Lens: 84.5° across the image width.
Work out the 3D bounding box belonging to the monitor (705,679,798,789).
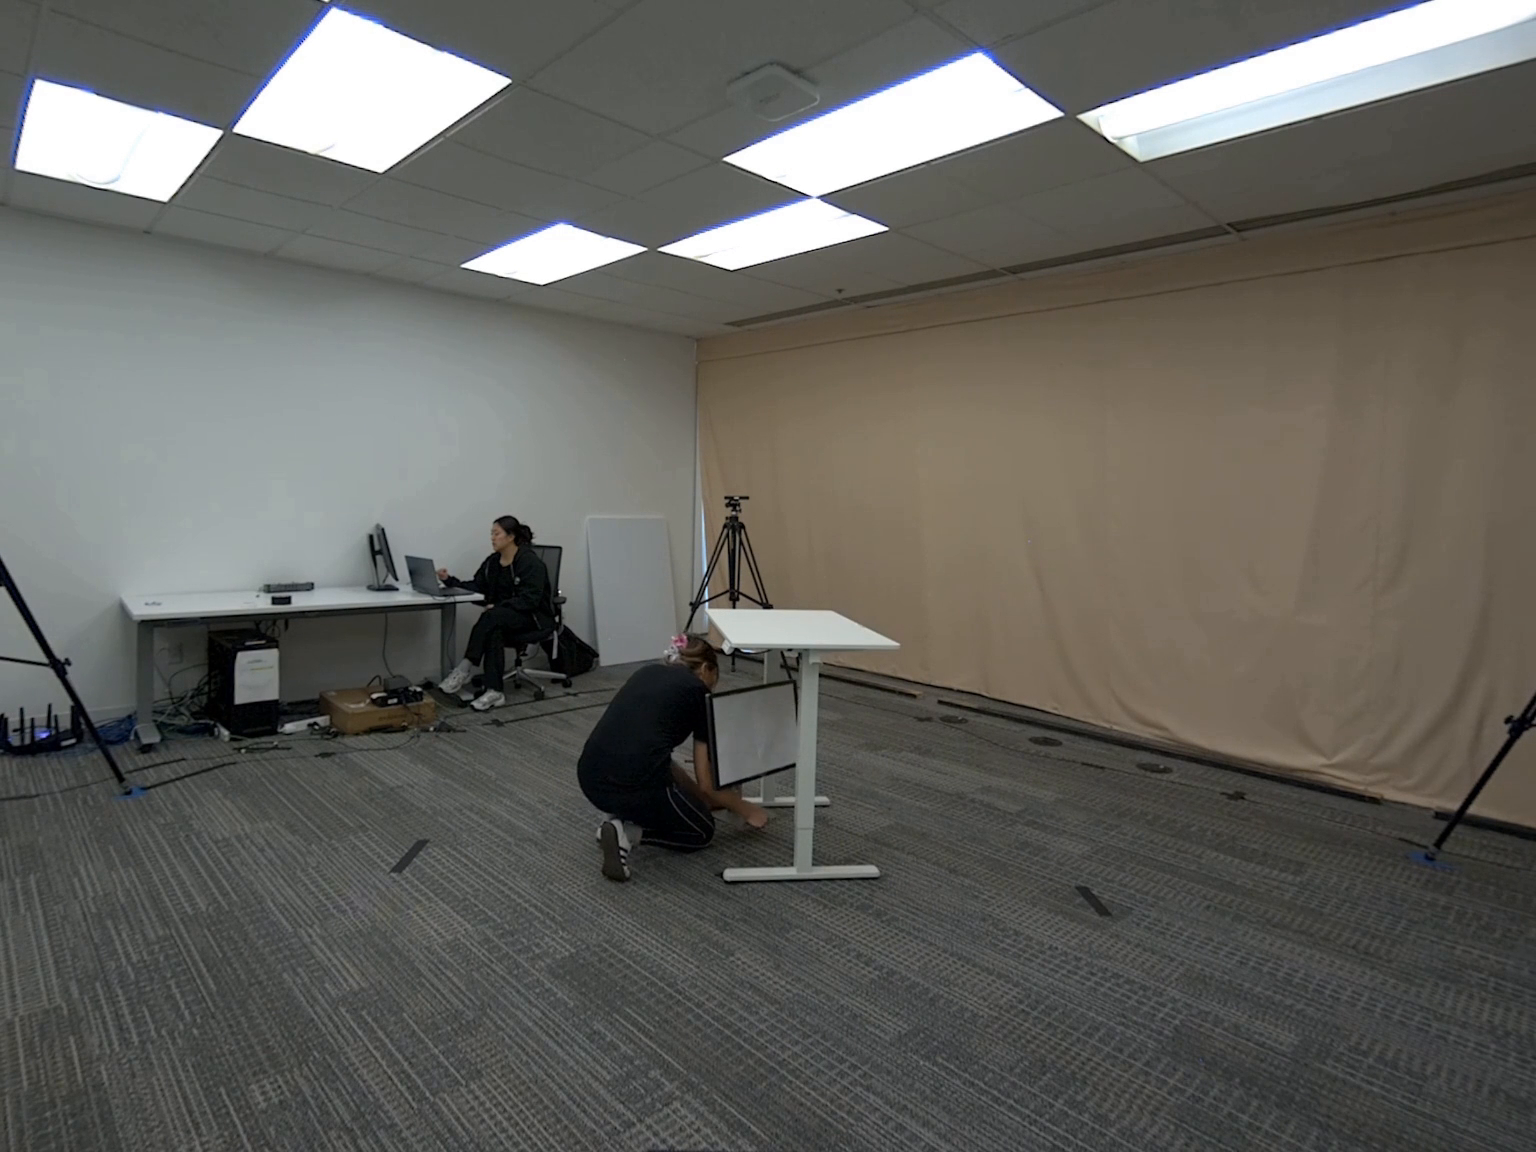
[{"bbox_3d":[-0.088,0.715,3.437,0.192,0.521,0.527,7,5,38],"label":"monitor"}]
